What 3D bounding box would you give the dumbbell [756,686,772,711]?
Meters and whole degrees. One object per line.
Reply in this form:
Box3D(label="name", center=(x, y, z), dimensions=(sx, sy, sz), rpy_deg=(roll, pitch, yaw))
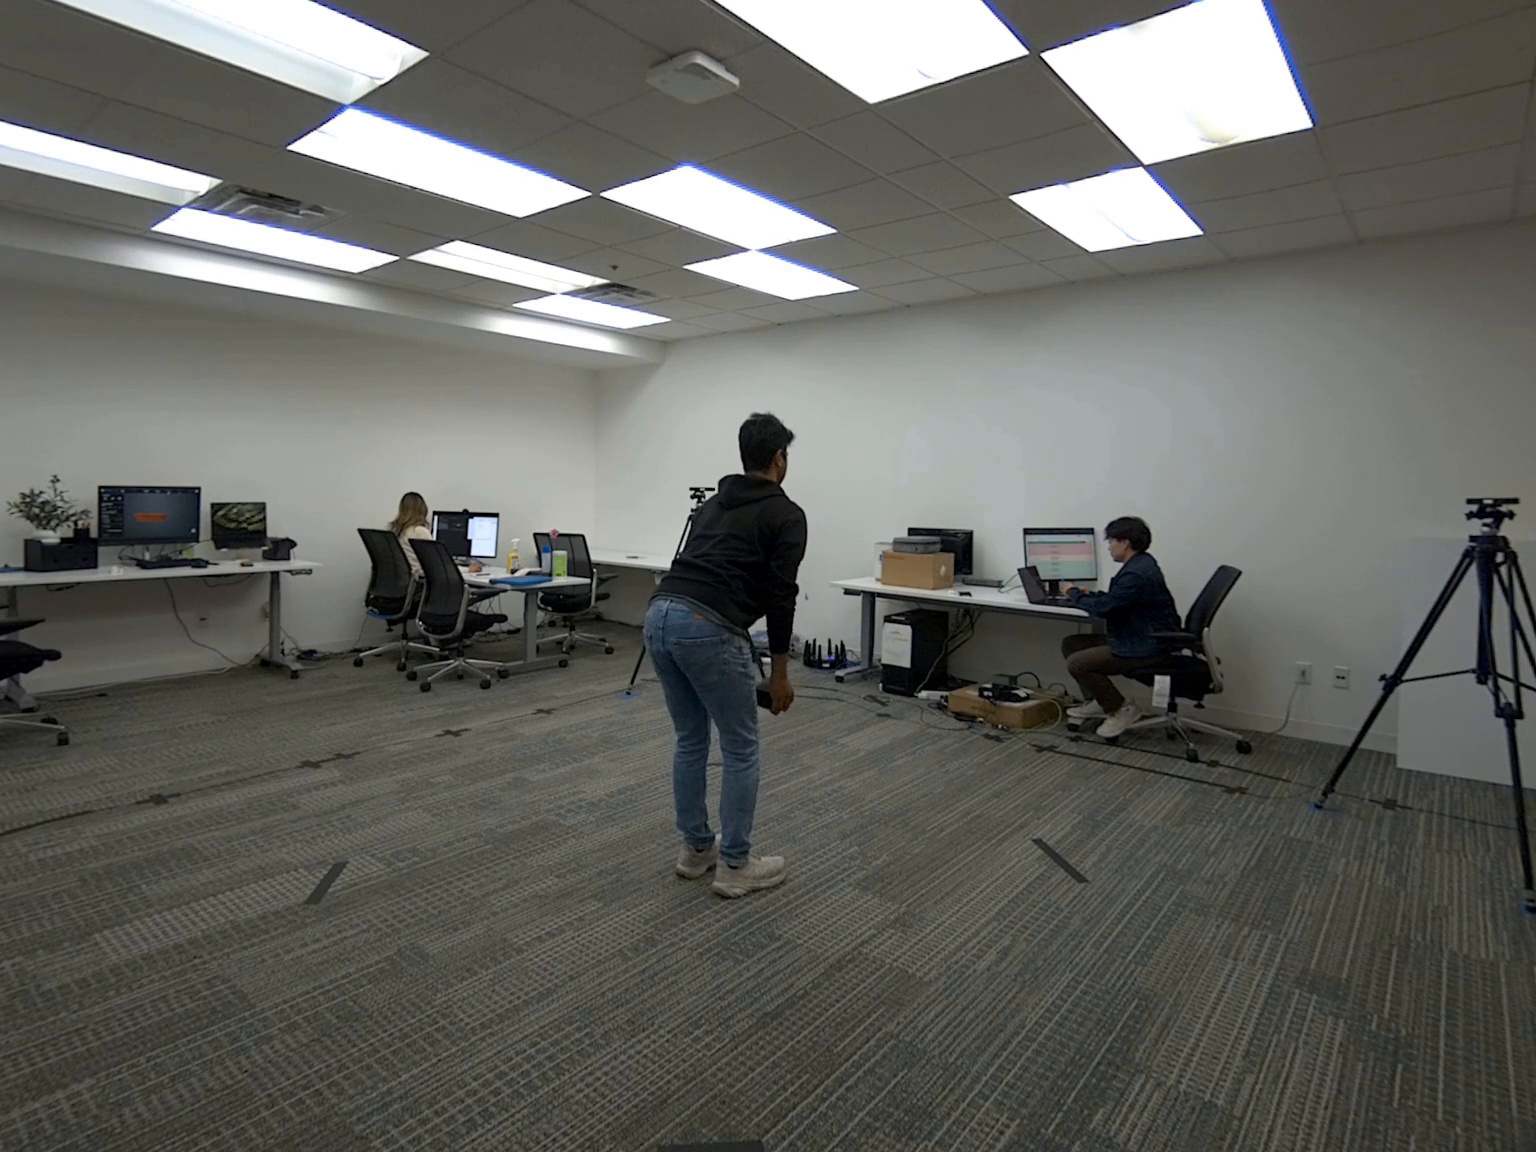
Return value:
Box3D(label="dumbbell", center=(-0.085, 0.421, 3.115), dimensions=(0.304, 0.105, 0.123), rpy_deg=(8, 41, 40))
